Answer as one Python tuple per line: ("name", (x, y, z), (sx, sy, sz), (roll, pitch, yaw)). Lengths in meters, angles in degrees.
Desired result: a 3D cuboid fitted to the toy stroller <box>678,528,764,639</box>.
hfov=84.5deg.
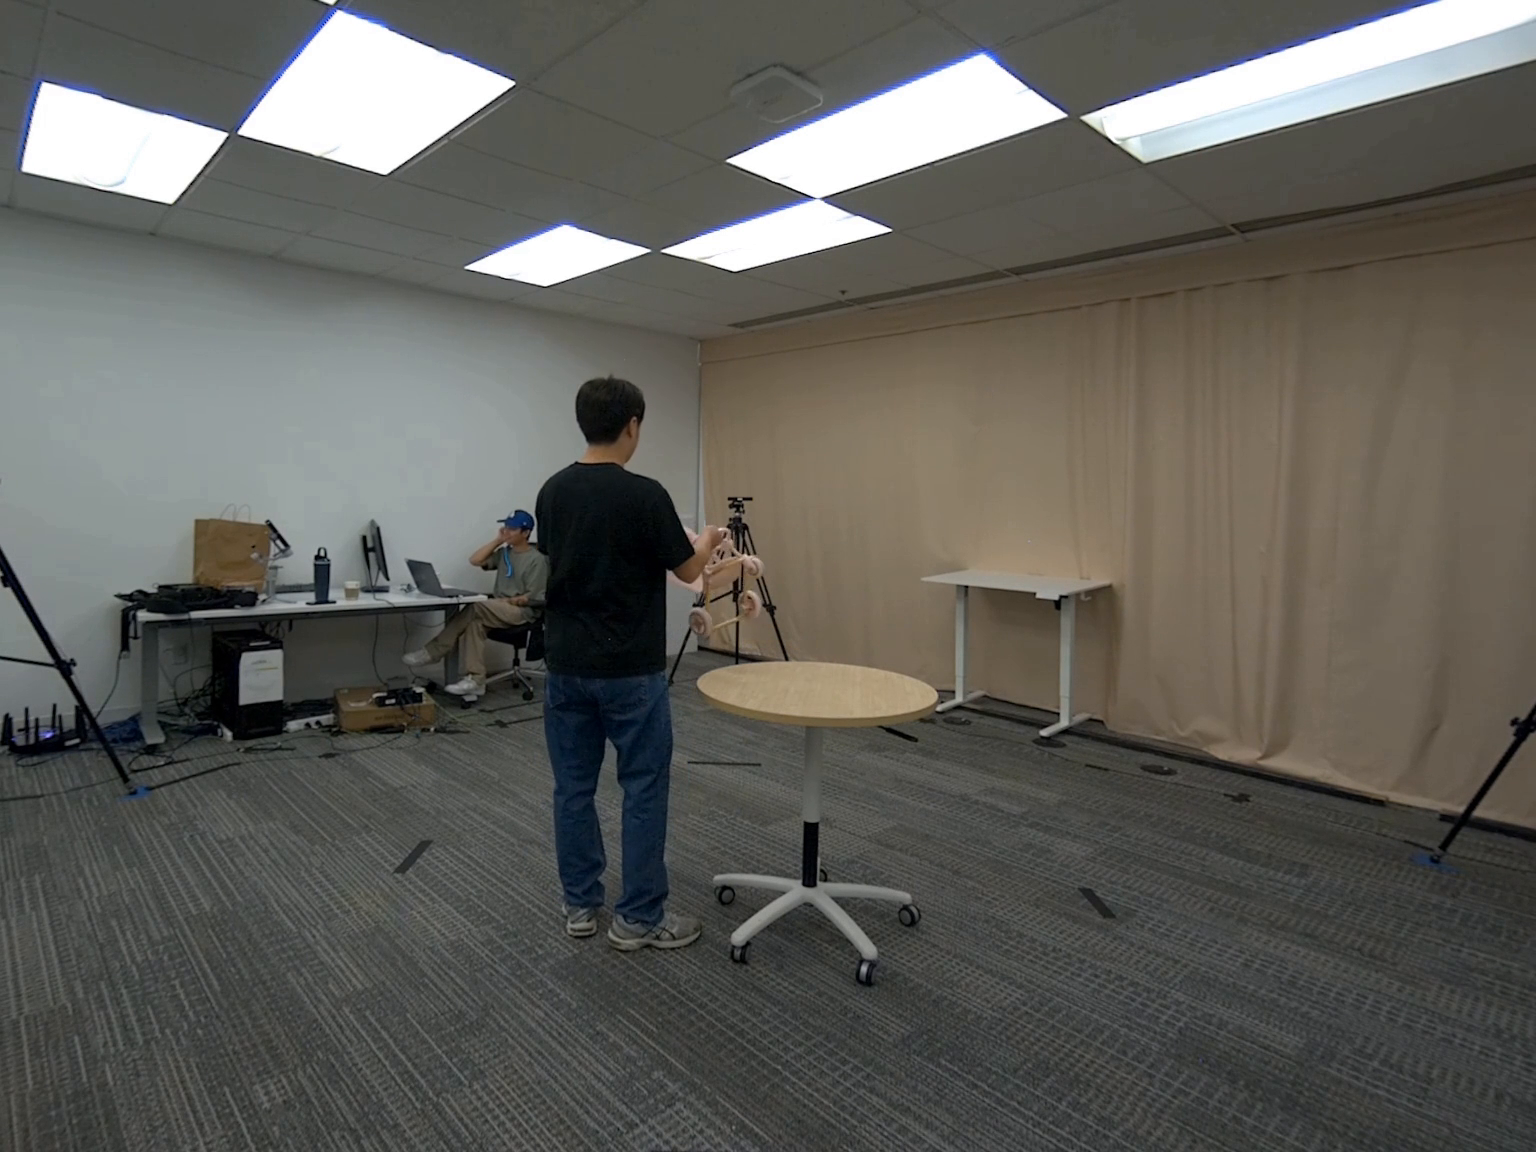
("toy stroller", (-0.228, -0.022, 3.021), (0.277, 0.336, 0.551), (-20, 43, -39))
